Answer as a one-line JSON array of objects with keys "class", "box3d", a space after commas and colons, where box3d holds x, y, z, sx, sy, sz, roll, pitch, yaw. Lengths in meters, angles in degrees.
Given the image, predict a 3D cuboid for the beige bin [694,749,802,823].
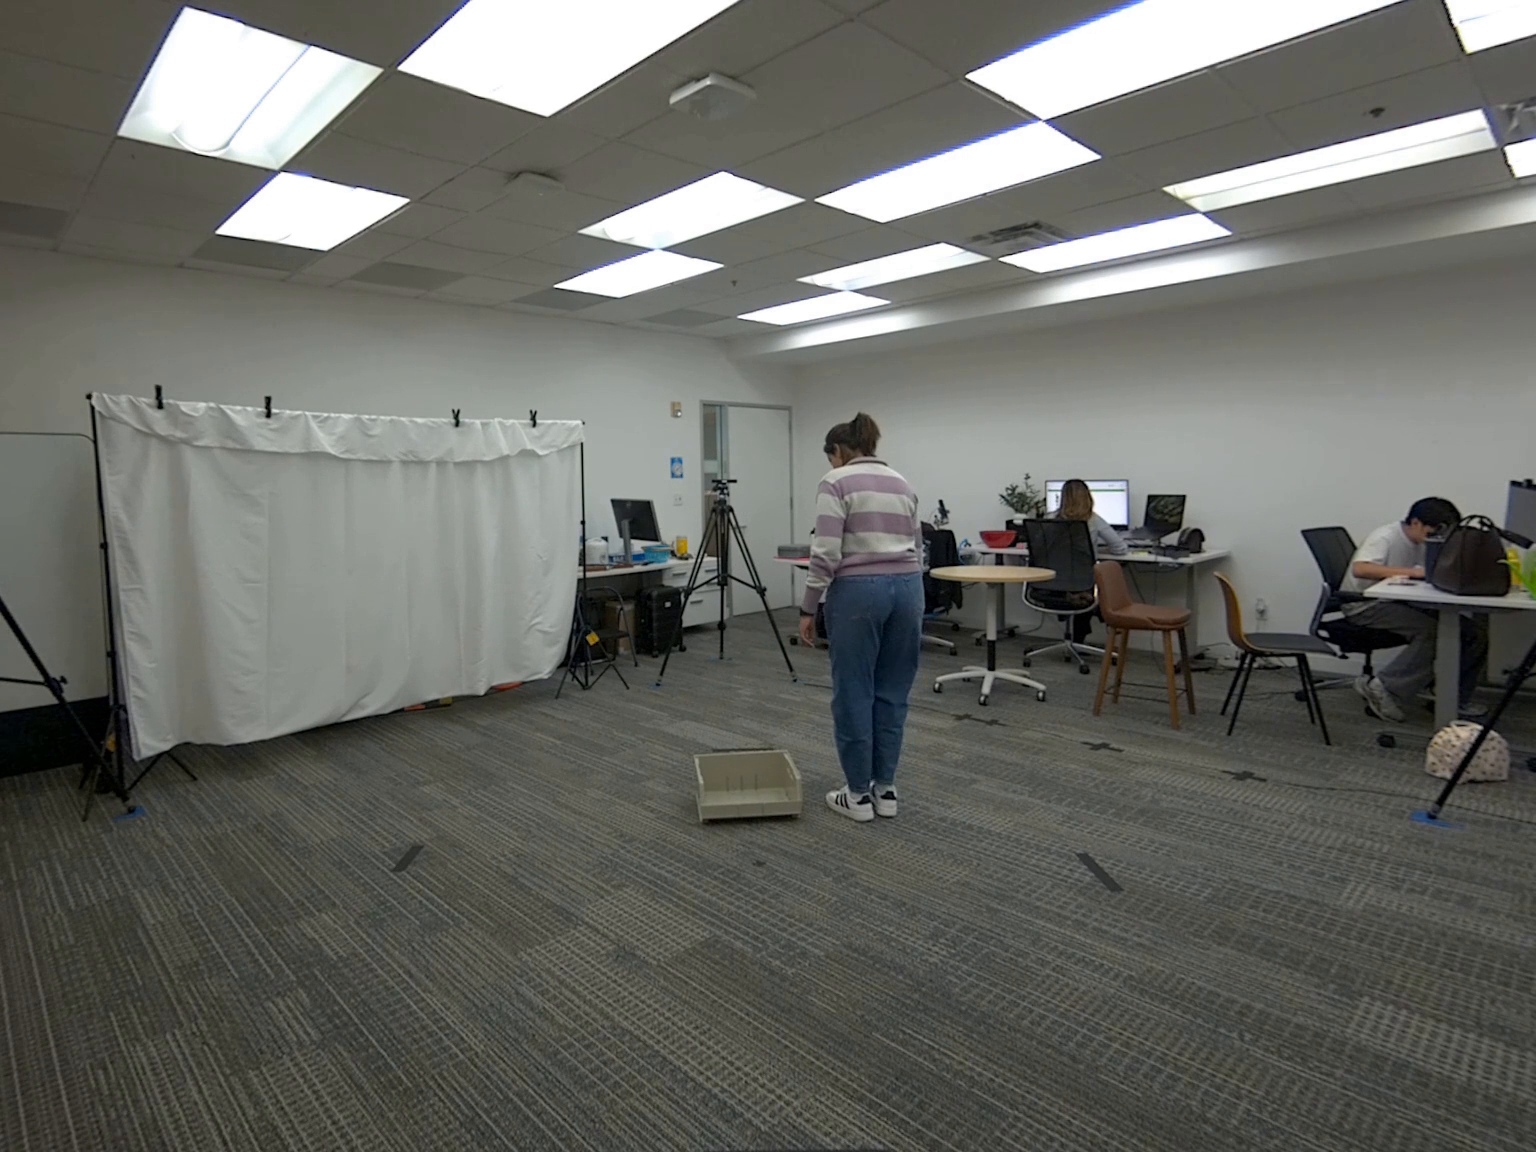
[{"class": "beige bin", "box3d": [-0.082, 0.899, 3.634, 0.420, 0.188, 0.381, -3, 5, -6]}]
